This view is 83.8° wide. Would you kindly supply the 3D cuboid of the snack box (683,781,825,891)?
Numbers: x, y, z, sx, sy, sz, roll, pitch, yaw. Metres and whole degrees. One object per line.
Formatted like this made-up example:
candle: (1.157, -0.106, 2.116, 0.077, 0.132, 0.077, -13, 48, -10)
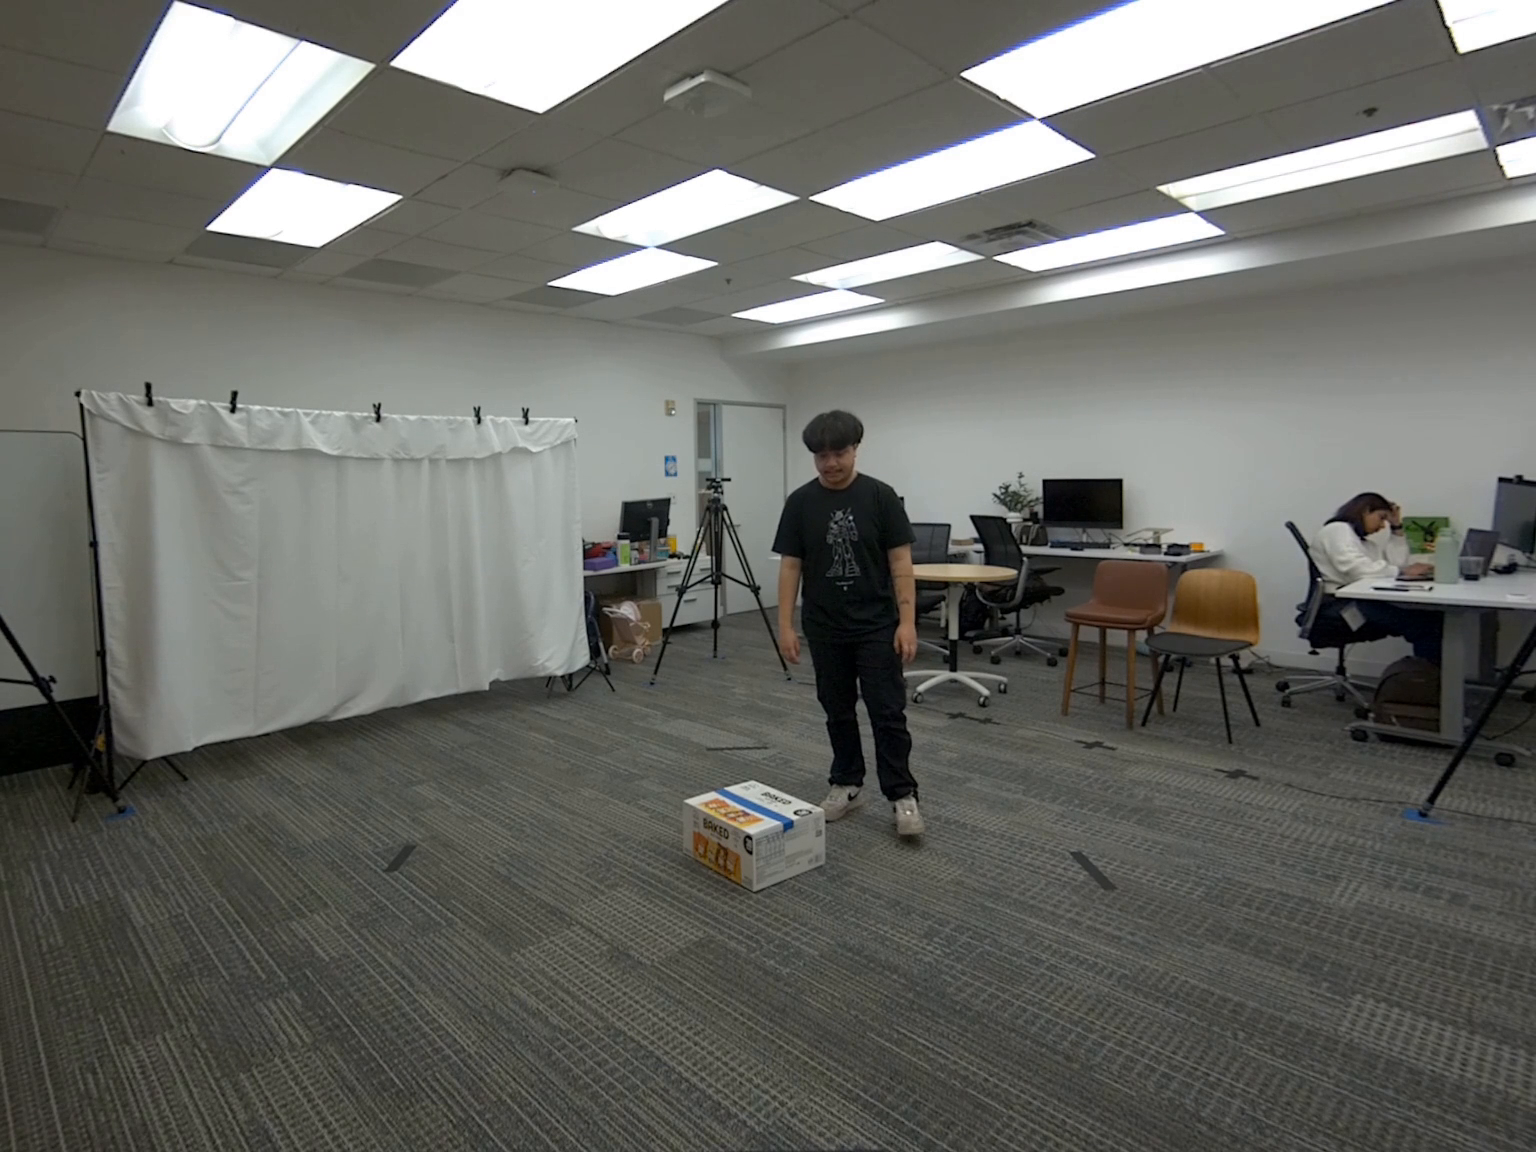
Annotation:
snack box: (-0.053, 0.938, 3.125, 0.331, 0.205, 0.417, -6, 8, -39)
